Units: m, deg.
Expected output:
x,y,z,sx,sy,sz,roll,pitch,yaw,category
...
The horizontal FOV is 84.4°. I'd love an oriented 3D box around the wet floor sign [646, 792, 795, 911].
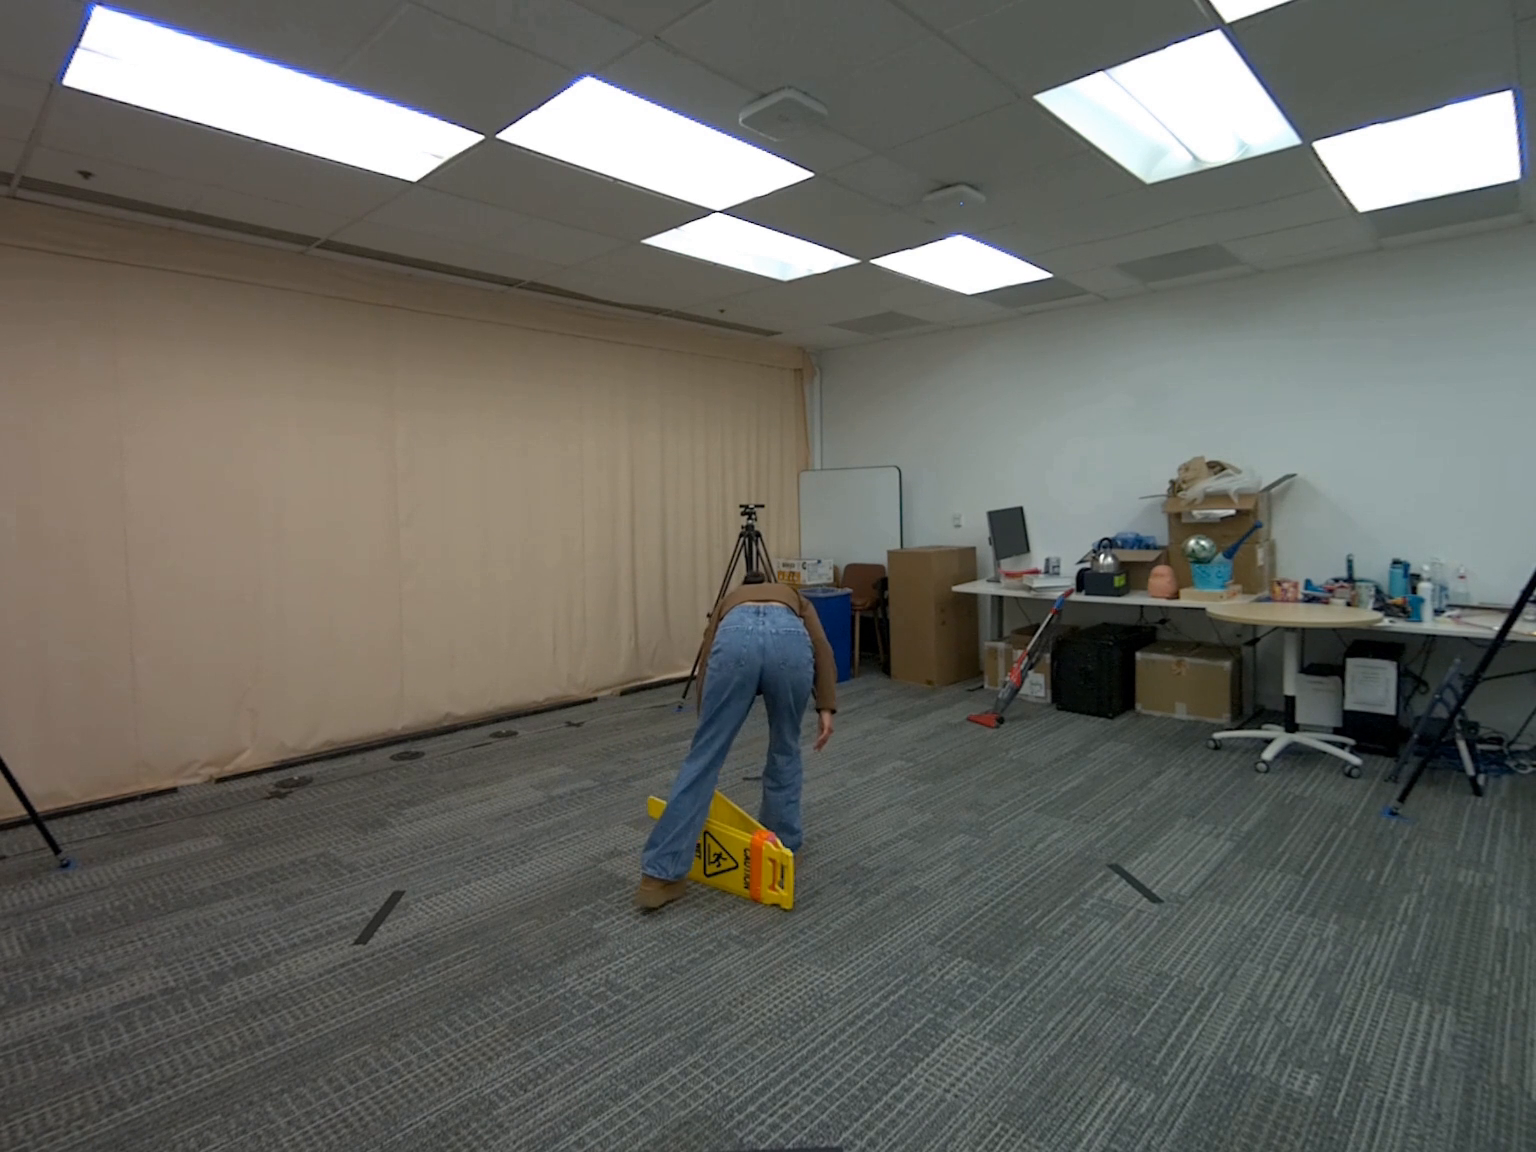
x,y,z,sx,sy,sz,roll,pitch,yaw,category
-0.140,1.005,3.106,0.281,0.281,0.668,-5,8,-42,wet floor sign
